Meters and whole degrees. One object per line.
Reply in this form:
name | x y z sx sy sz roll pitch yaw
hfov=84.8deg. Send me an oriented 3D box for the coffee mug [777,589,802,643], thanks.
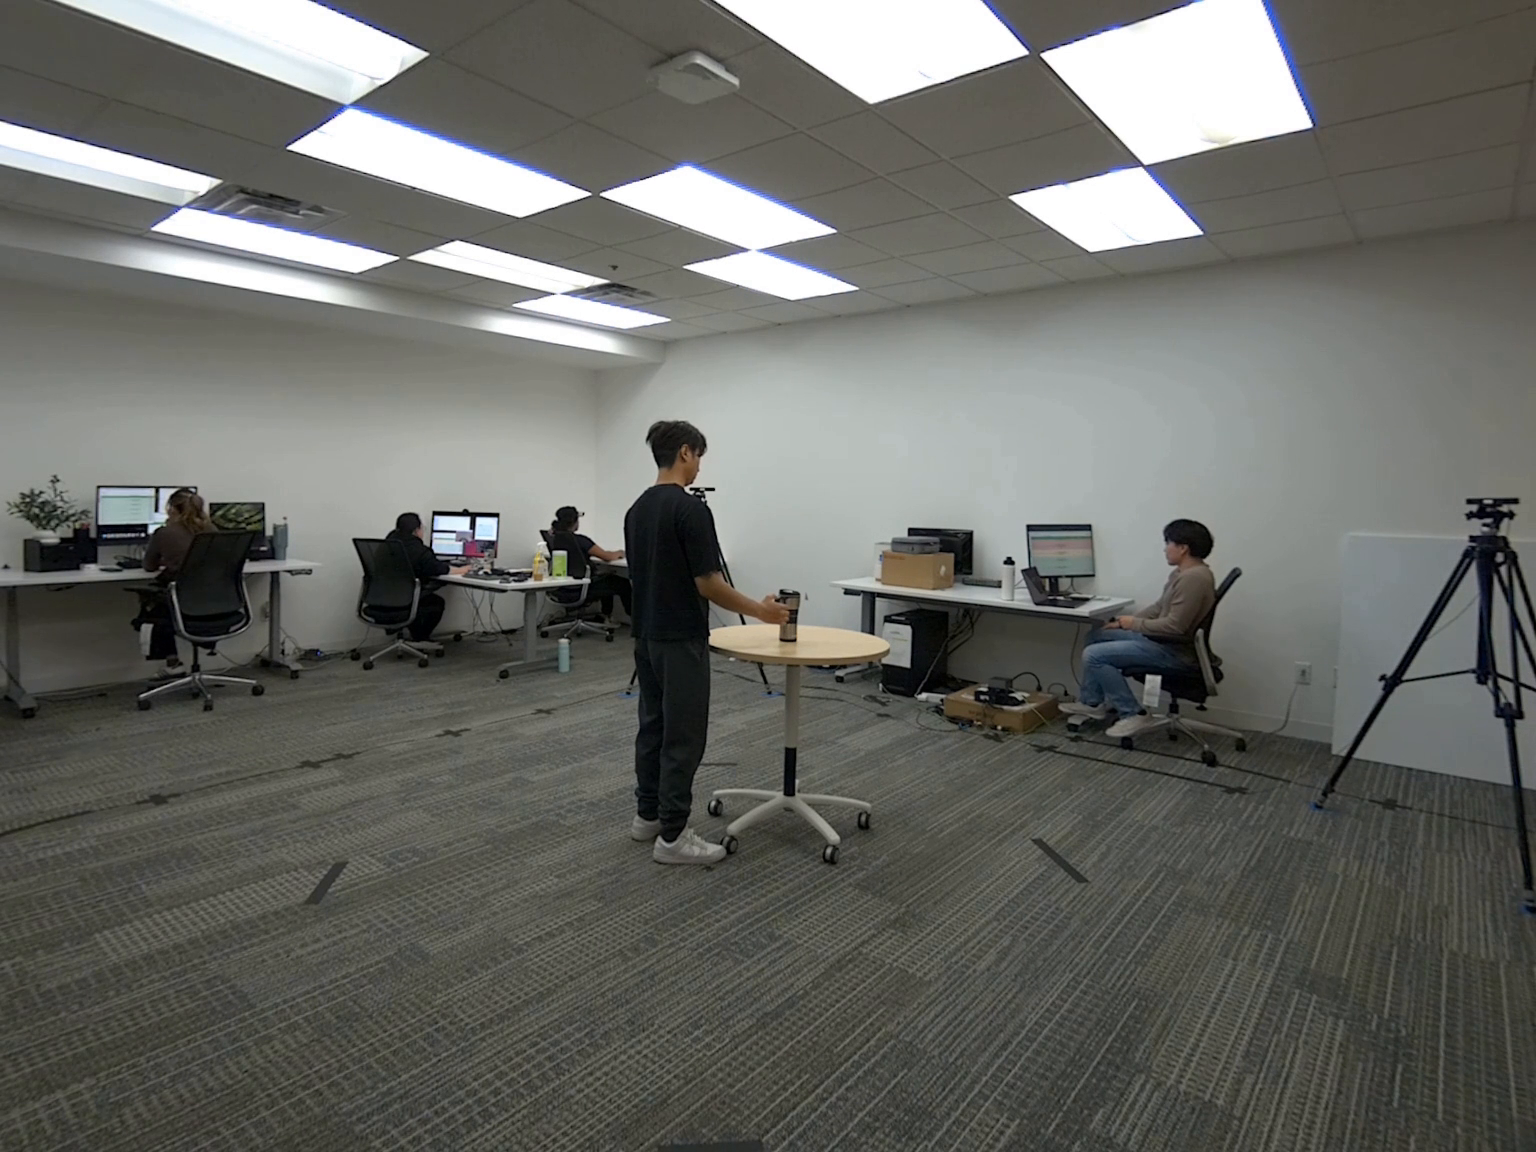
coffee mug | 0.053 0.162 3.426 0.122 0.202 0.088 2 7 -2
